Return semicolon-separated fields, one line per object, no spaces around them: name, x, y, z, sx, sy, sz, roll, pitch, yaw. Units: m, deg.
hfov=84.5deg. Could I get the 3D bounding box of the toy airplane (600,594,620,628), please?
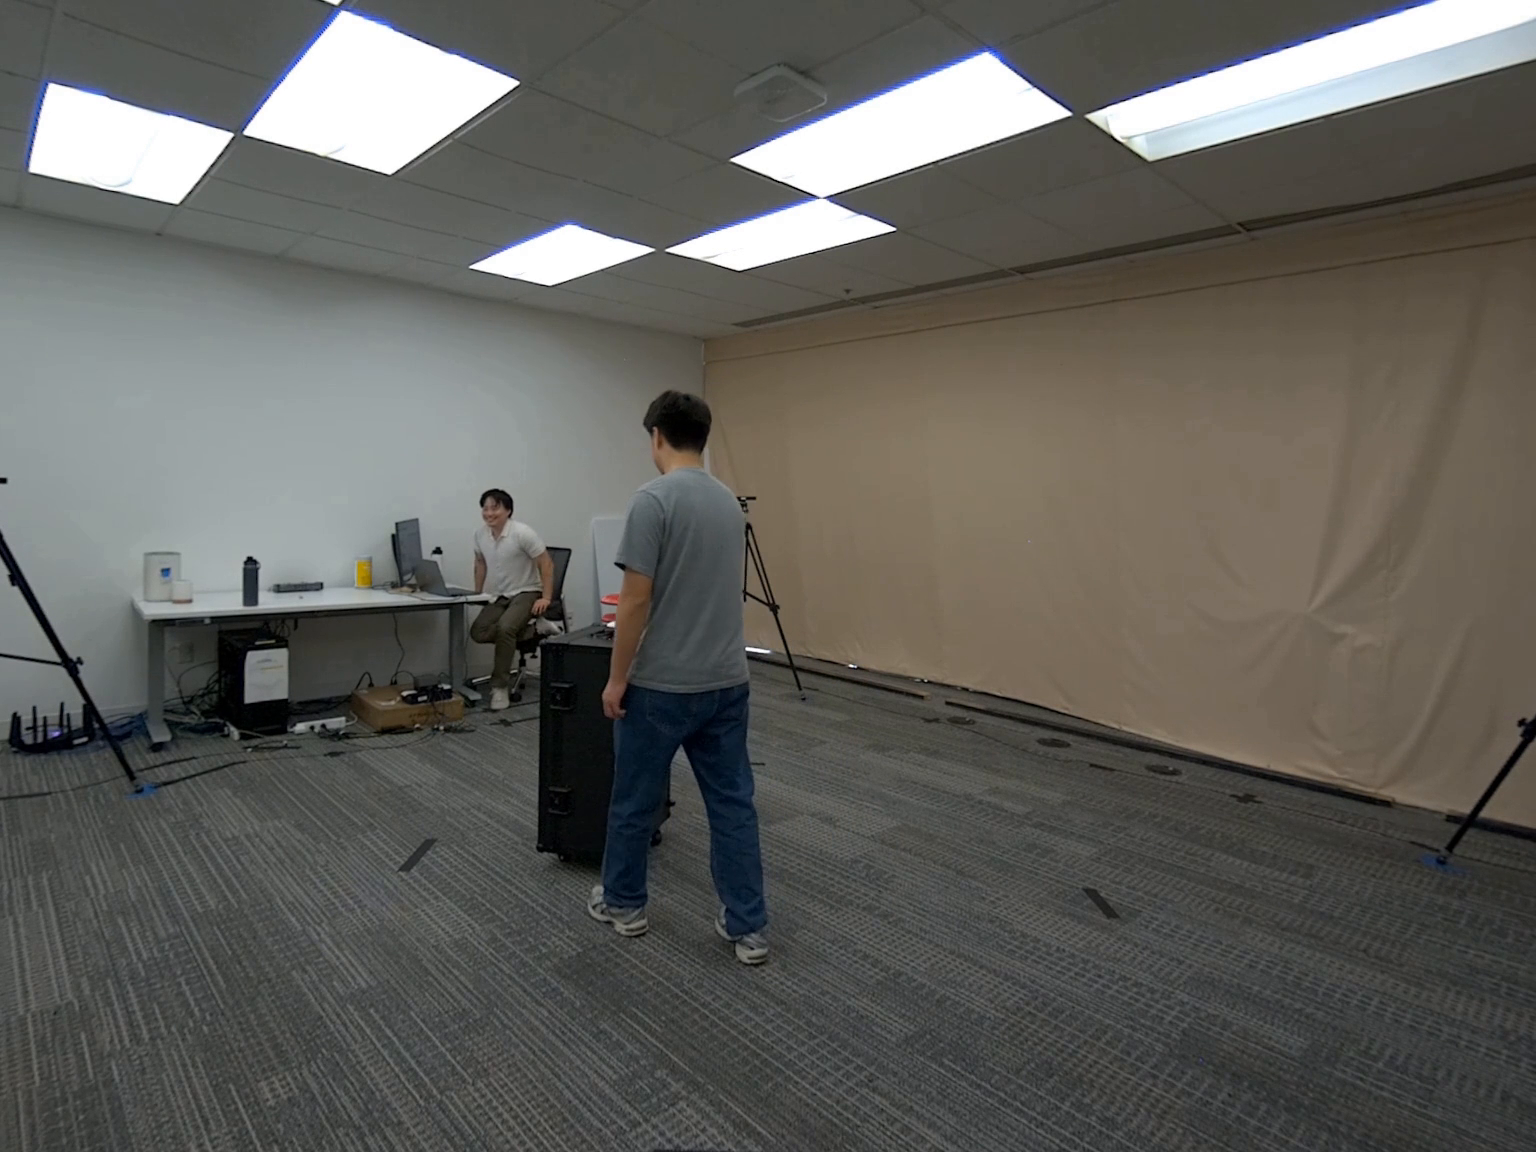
toy airplane;-0.518;0.158;3.246;0.247;0.156;0.264;0;4;-21
